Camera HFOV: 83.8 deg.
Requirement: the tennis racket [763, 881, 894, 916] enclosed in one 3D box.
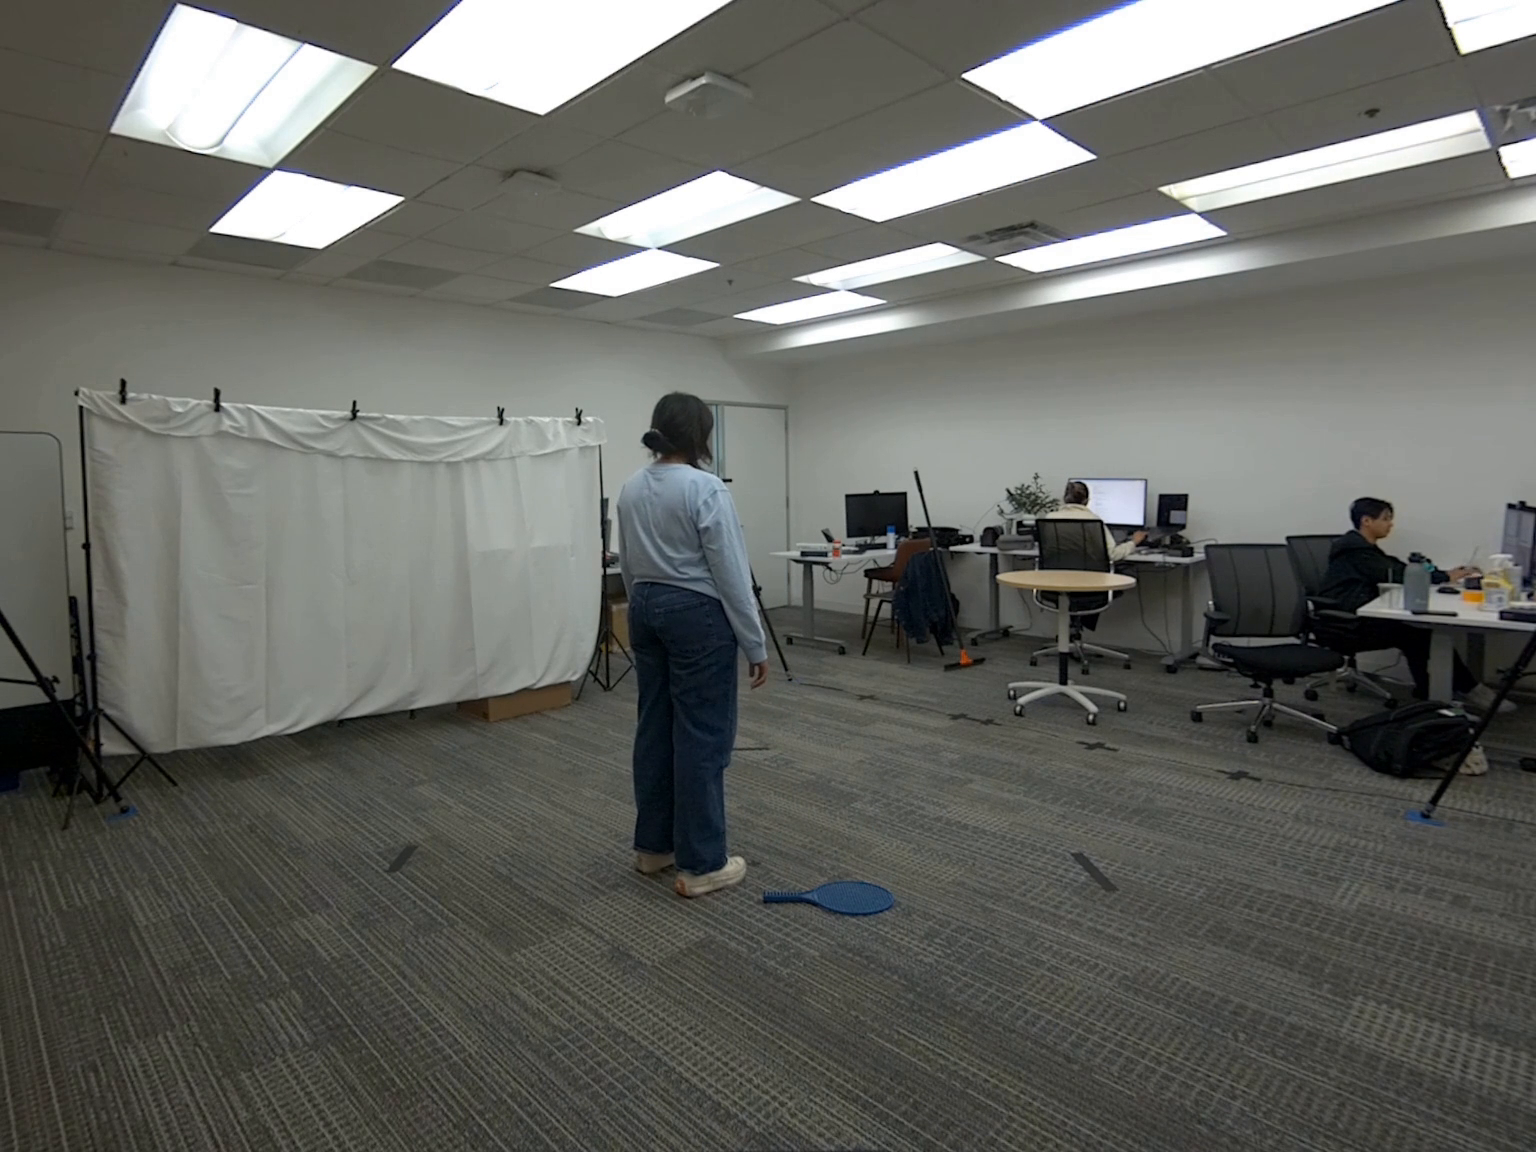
[{"bbox_3d":[0.201,1.055,2.824,0.433,0.031,0.214,0,6,0],"label":"tennis racket"}]
